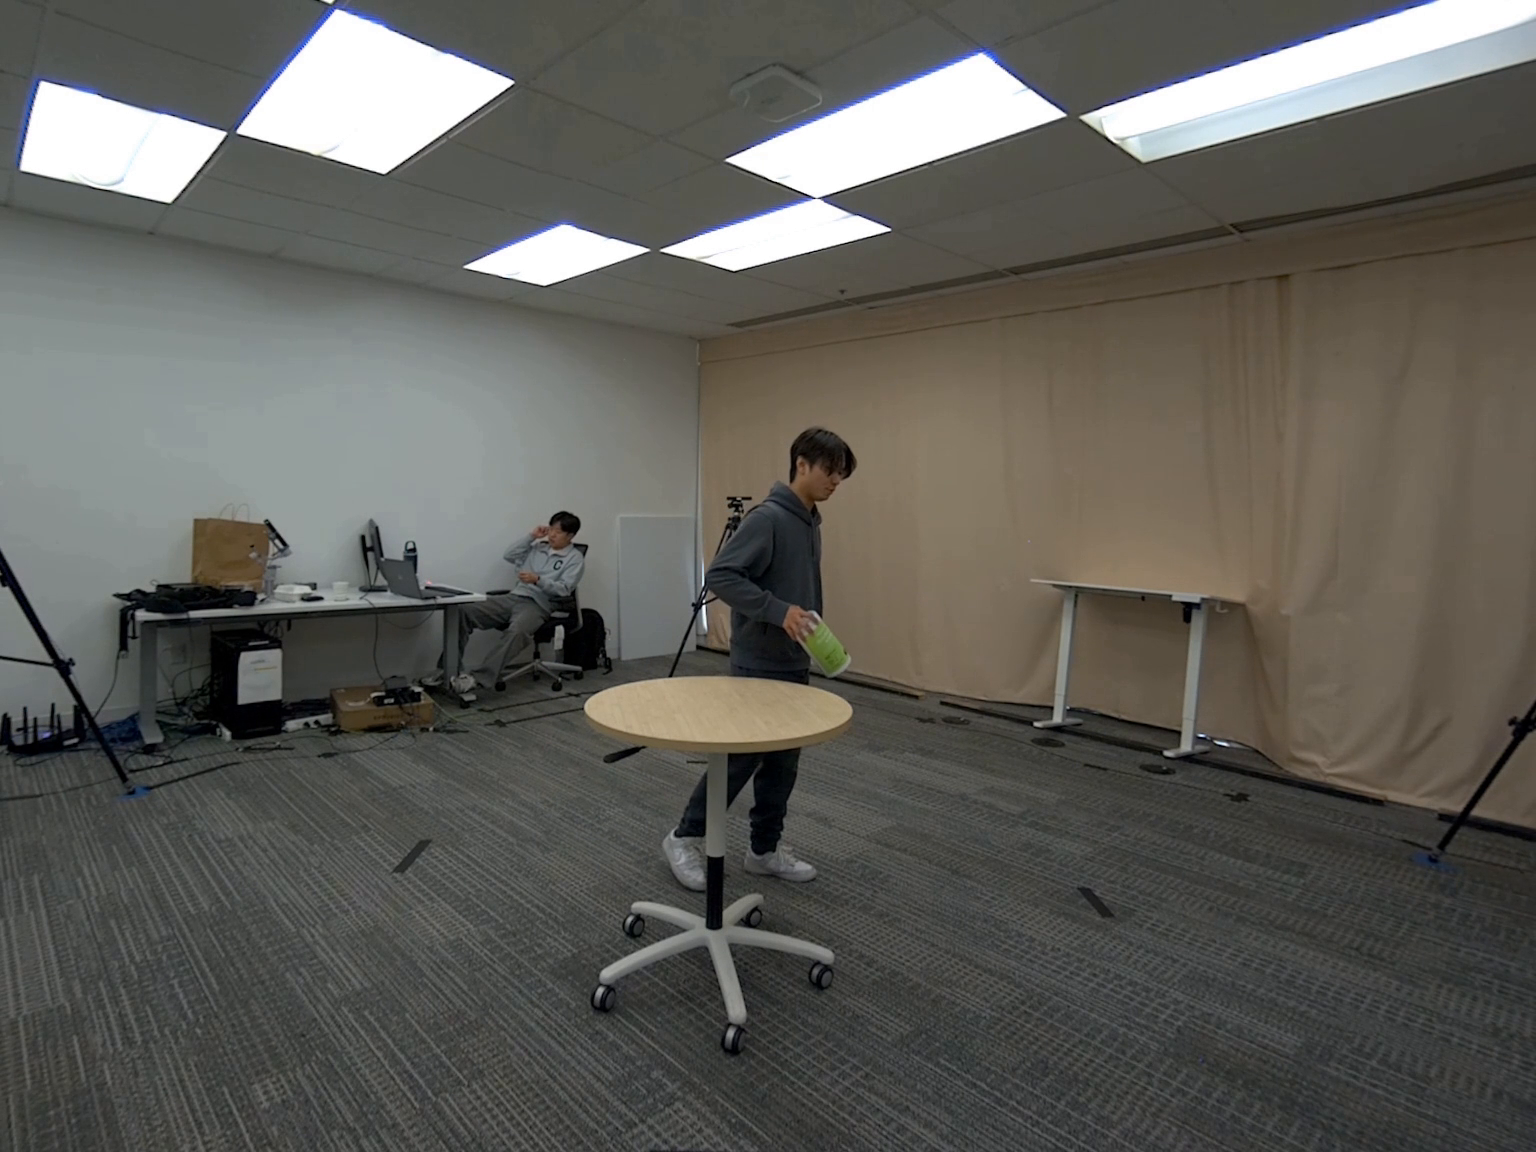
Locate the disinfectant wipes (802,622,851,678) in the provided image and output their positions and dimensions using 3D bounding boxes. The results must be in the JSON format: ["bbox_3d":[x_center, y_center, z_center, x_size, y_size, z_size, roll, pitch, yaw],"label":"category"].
[{"bbox_3d":[0.154,0.231,2.829,0.118,0.214,0.119,-32,17,10],"label":"disinfectant wipes"}]
